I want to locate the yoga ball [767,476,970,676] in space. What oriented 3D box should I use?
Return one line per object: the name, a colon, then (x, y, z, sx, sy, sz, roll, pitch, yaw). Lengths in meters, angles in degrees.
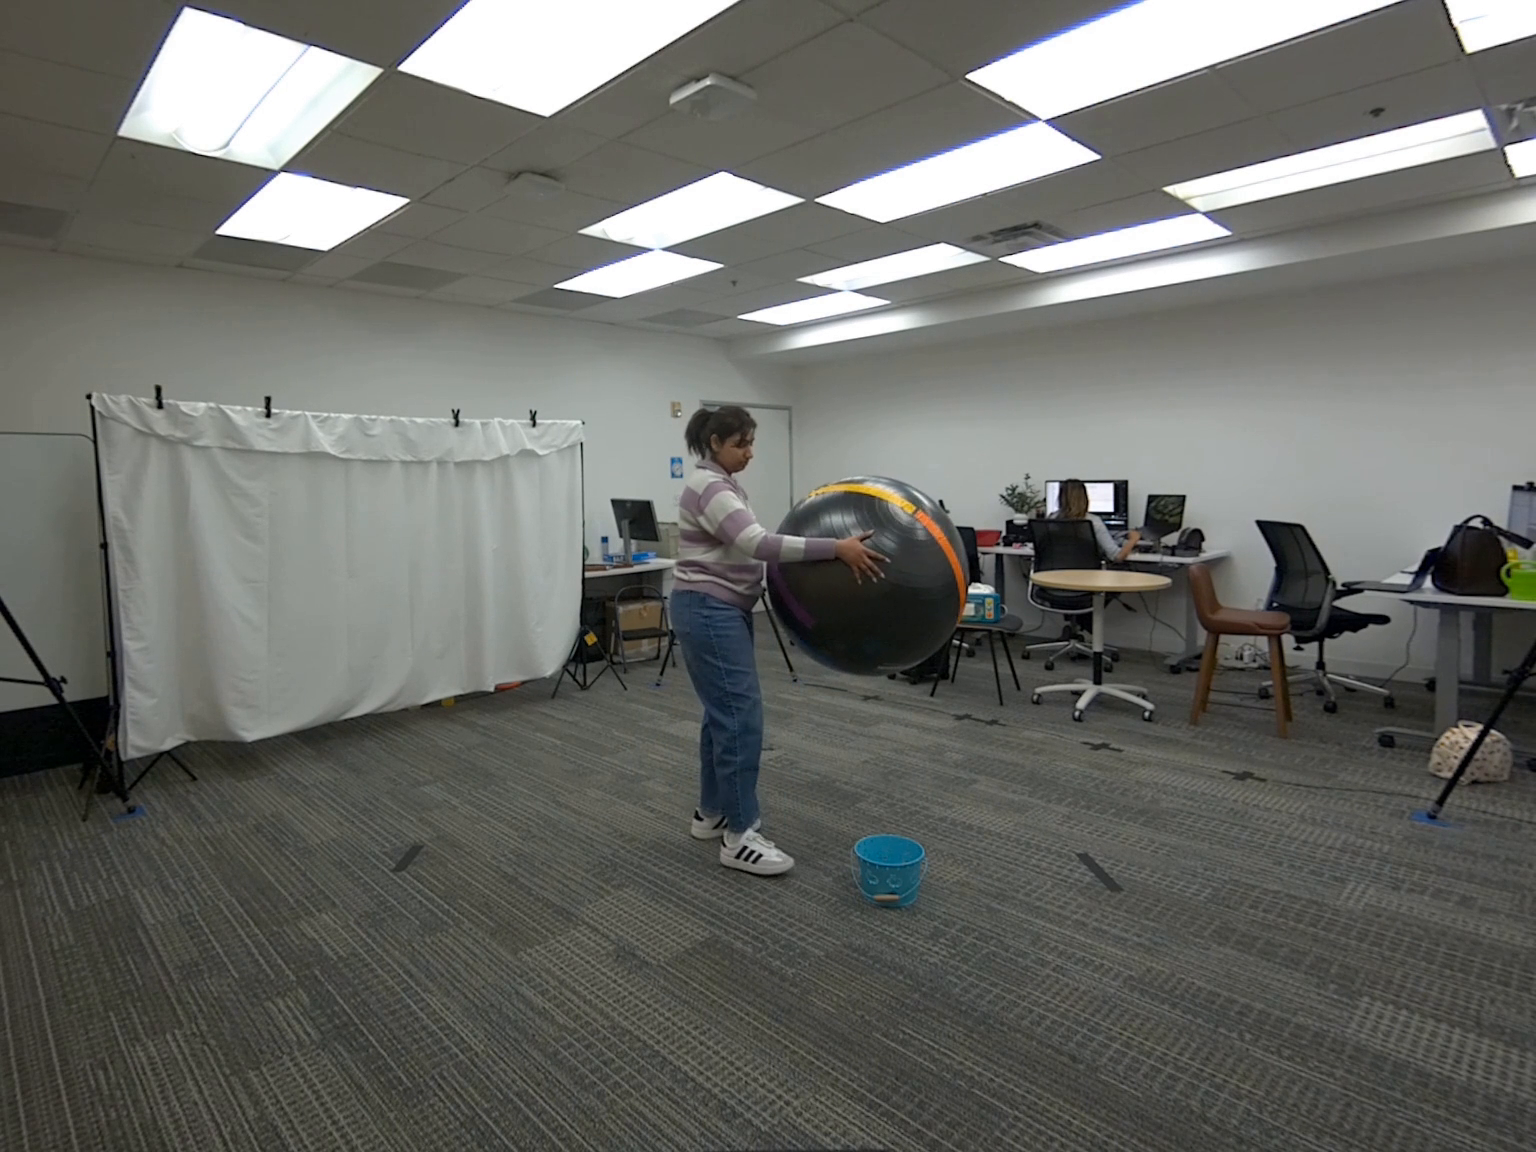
yoga ball: (0.373, 0.005, 3.259, 0.757, 0.755, 0.762, -1, 5, -2)
